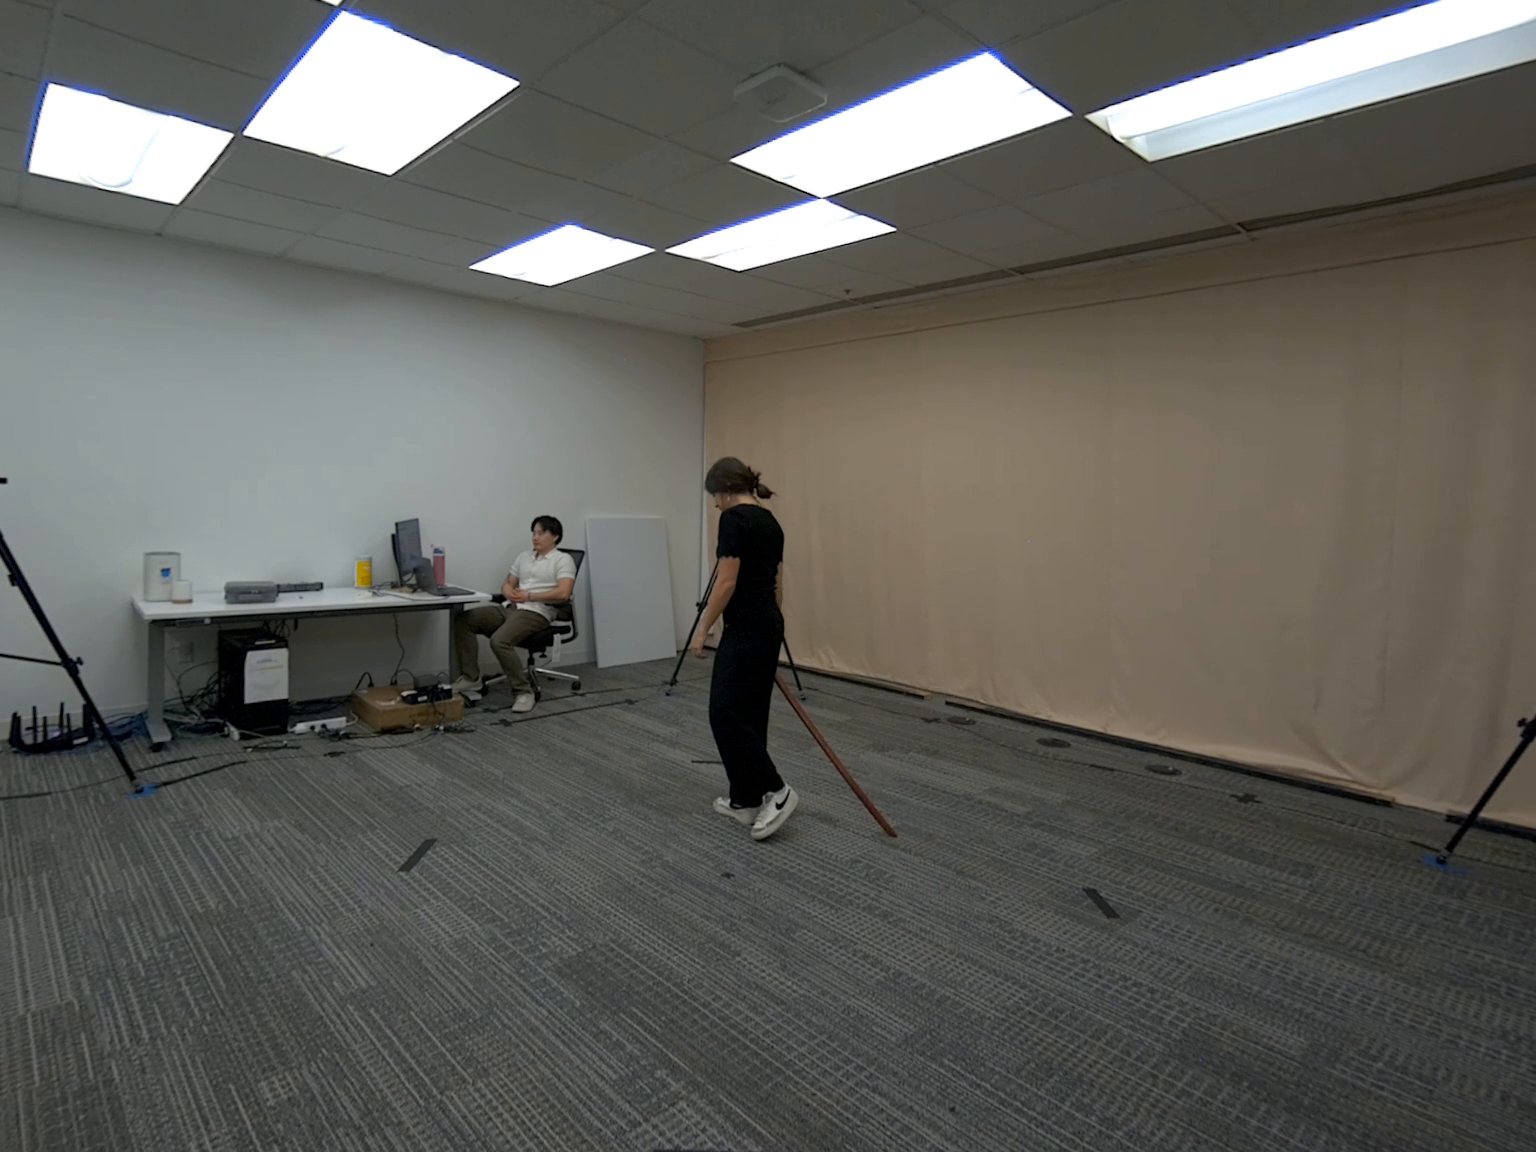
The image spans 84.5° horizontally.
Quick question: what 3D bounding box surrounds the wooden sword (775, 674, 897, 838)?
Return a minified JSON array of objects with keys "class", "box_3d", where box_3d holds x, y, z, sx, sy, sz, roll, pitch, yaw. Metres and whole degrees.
[{"class":"wooden sword","box_3d":[0.217,0.704,3.693,0.051,1.047,0.024,-30,-23,-22]}]
